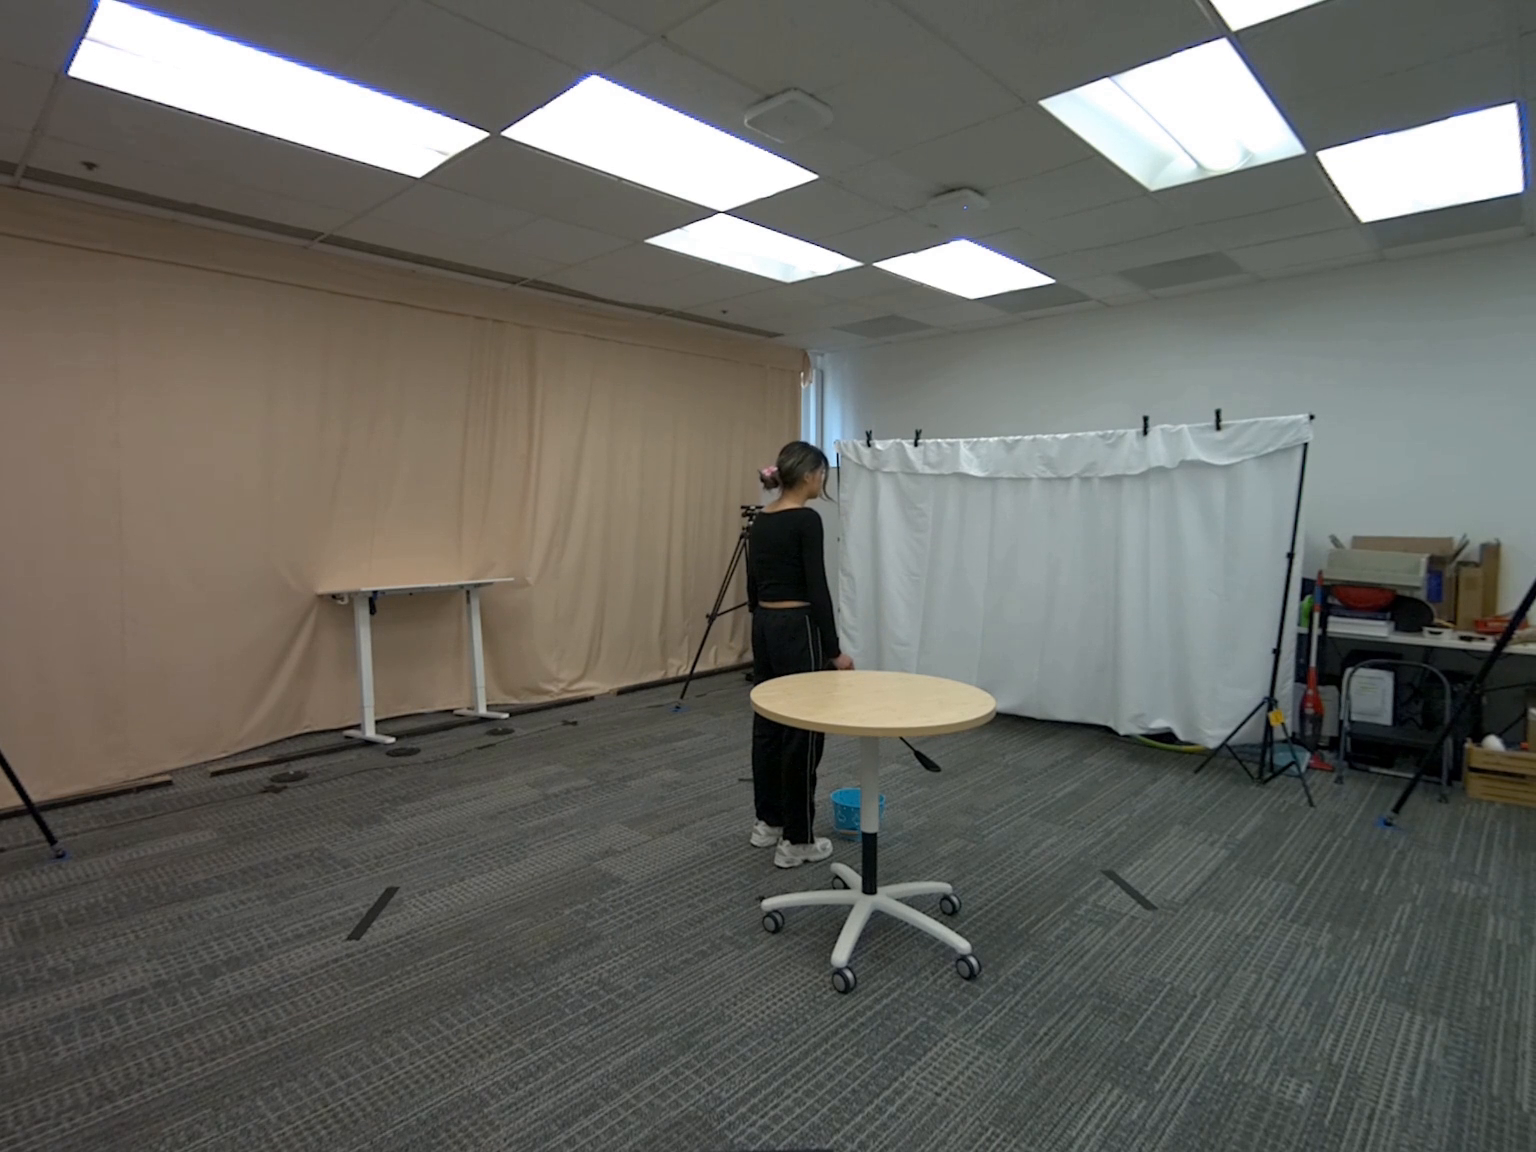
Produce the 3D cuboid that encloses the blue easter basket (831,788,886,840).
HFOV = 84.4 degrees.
[{"bbox_3d":[0.380,1.019,3.590,0.243,0.155,0.244,0,3,-2],"label":"blue easter basket"}]
